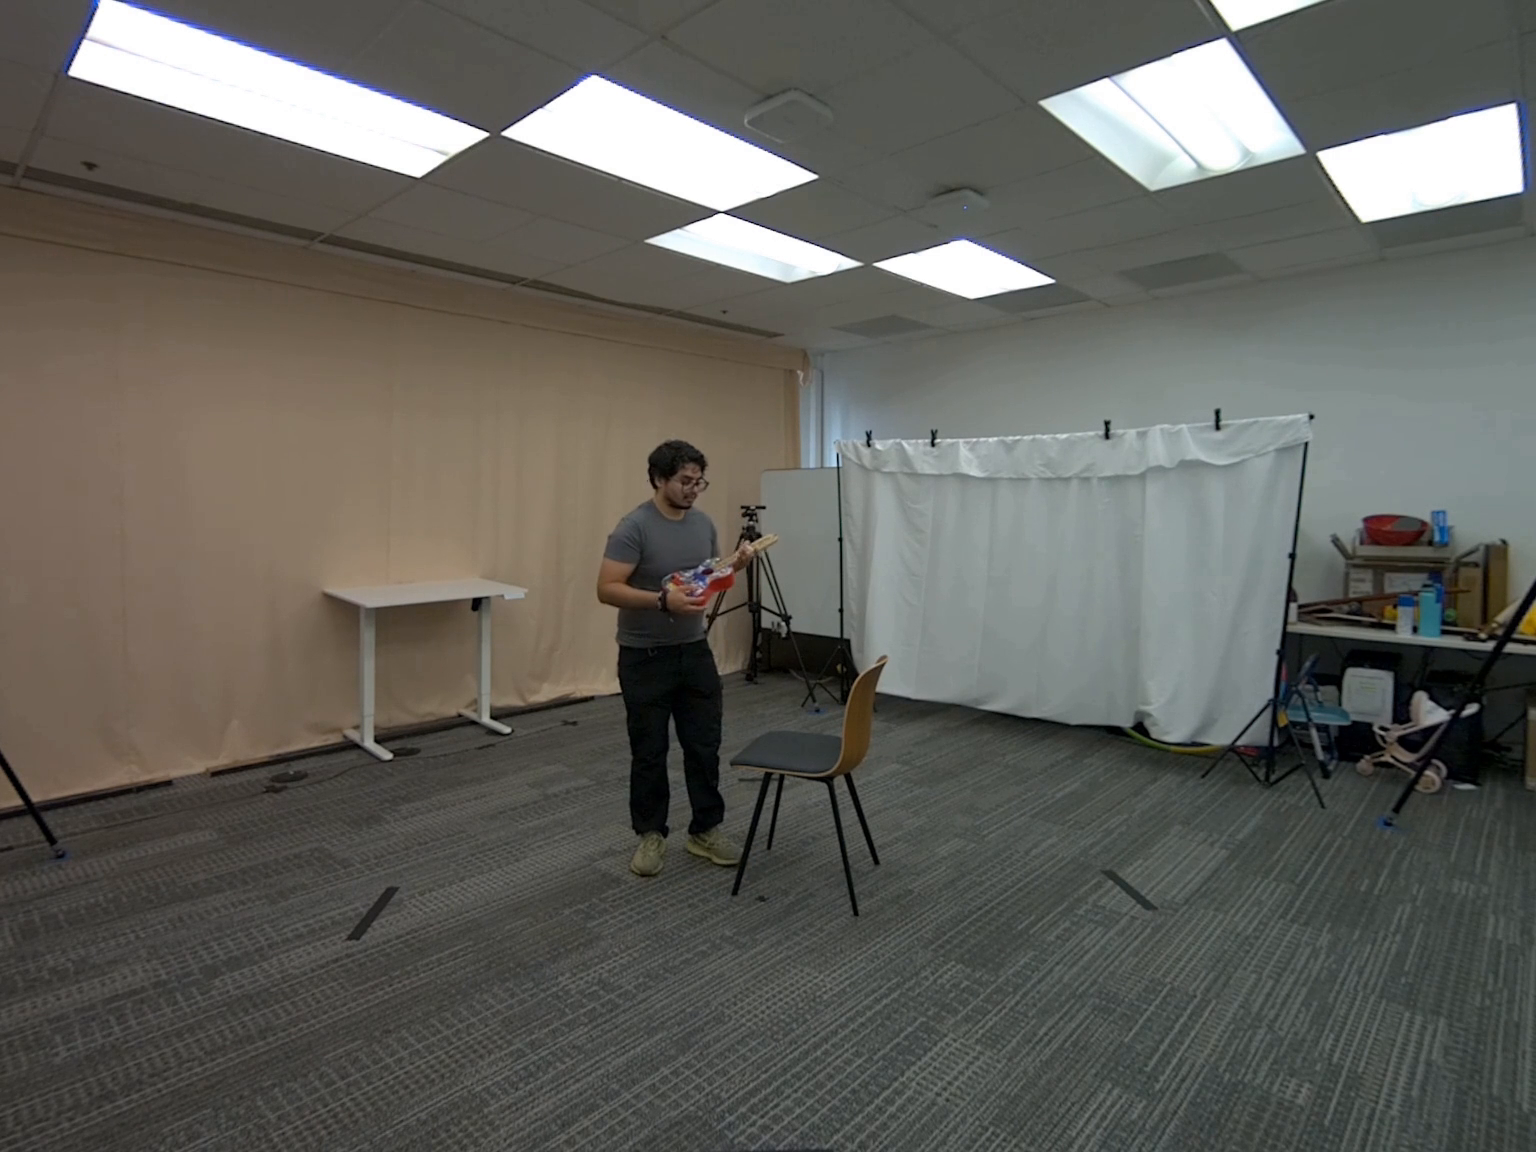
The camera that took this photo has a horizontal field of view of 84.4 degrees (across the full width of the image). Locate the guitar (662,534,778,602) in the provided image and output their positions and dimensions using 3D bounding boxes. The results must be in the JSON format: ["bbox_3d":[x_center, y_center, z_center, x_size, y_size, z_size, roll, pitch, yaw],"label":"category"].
[{"bbox_3d":[-0.138,-0.010,3.100,0.490,0.069,0.200,-23,39,-21],"label":"guitar"}]
